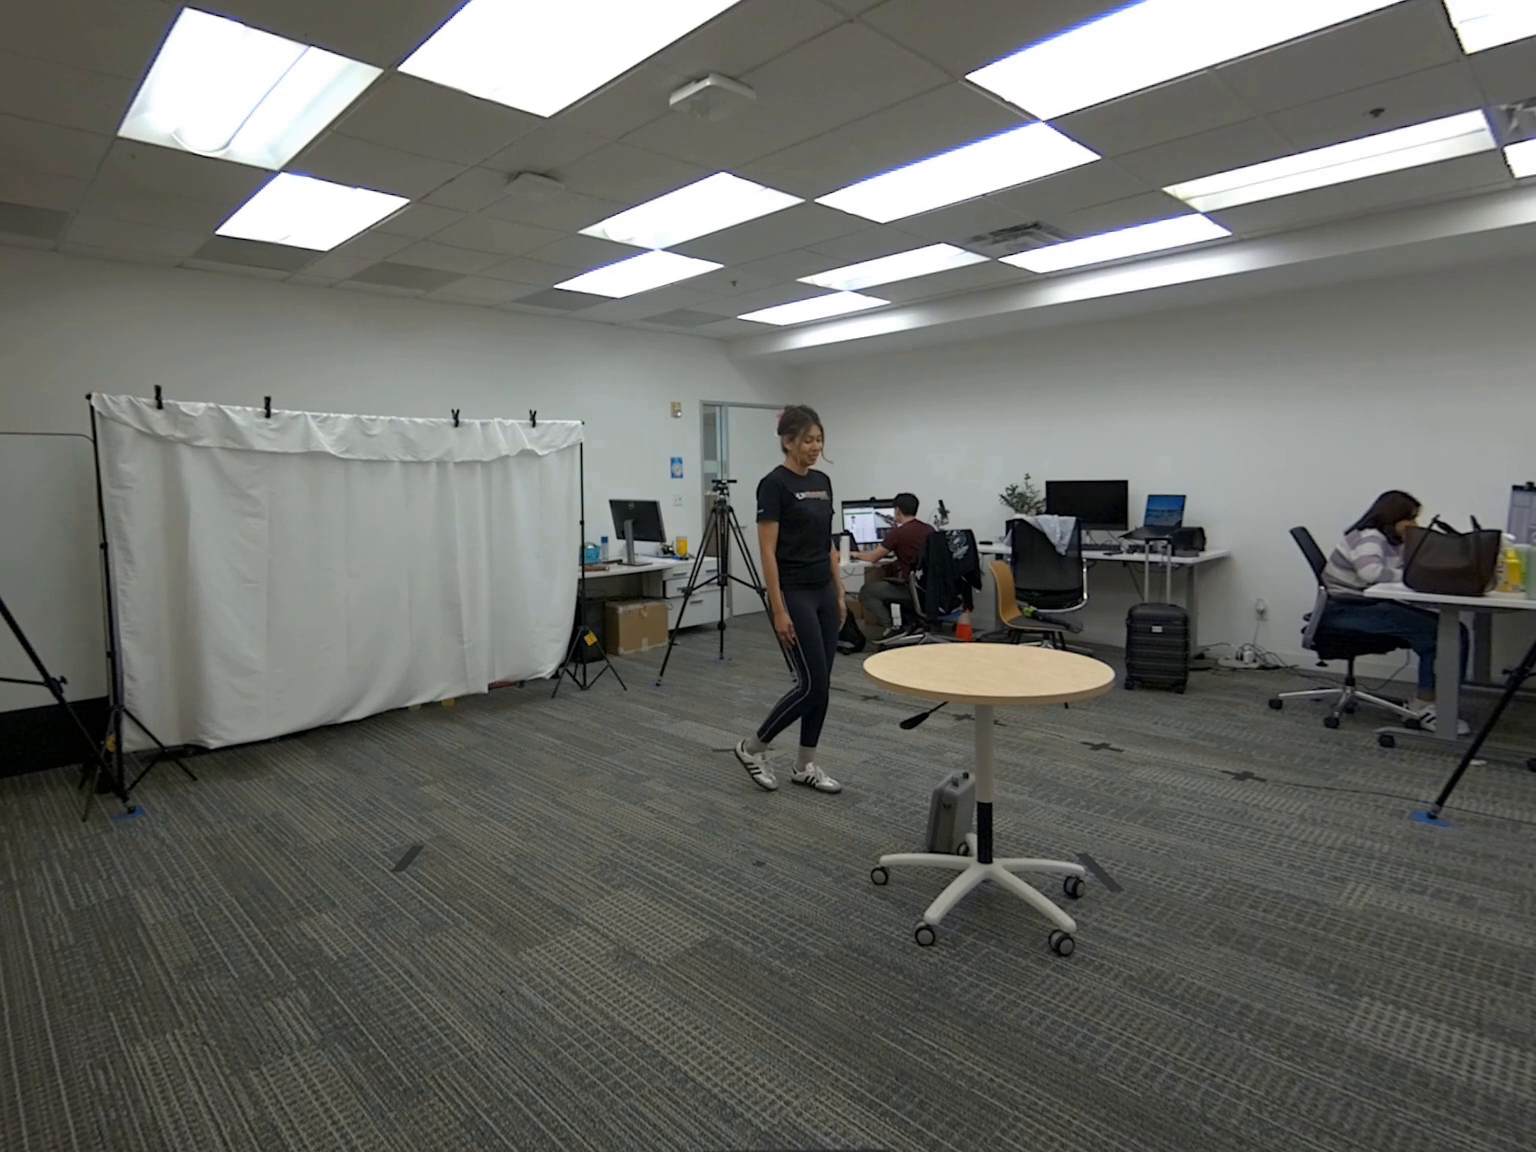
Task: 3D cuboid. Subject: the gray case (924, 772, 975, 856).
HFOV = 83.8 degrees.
[{"bbox_3d":[0.702,0.887,3.234,0.107,0.259,0.251,9,10,33],"label":"gray case"}]
